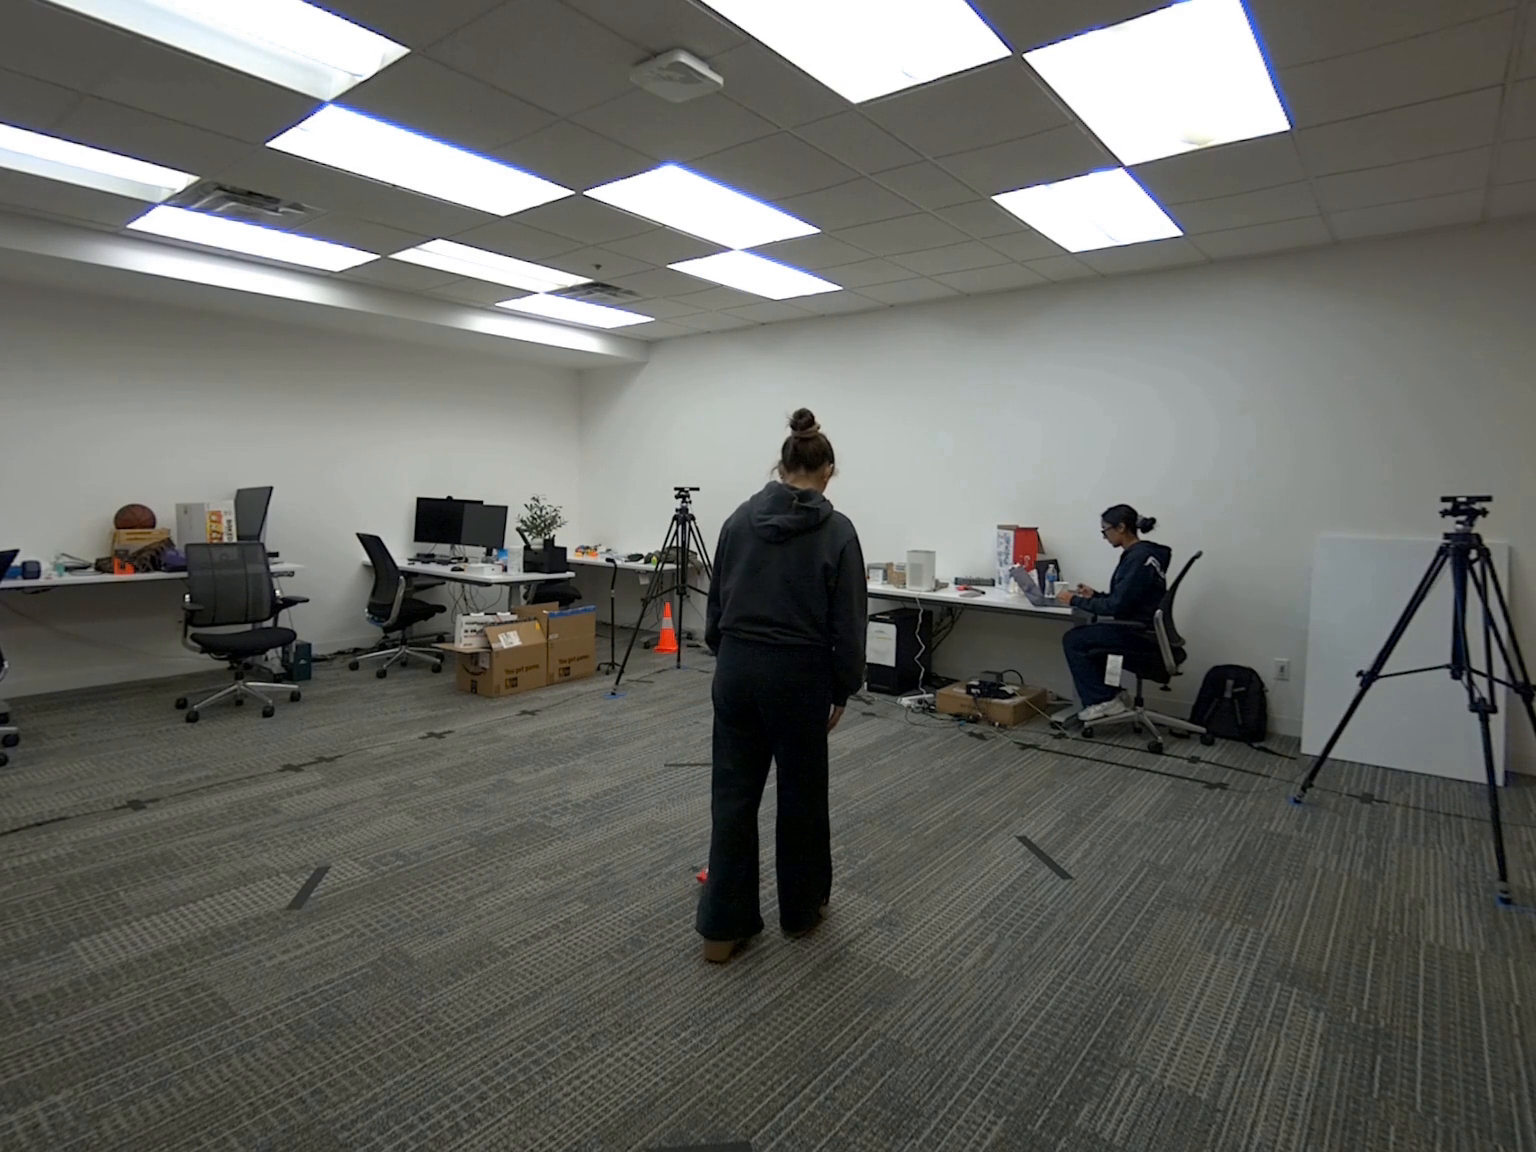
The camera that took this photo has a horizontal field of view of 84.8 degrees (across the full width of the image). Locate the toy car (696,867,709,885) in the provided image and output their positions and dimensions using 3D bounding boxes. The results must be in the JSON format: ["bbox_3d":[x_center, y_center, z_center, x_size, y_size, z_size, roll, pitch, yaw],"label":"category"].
[{"bbox_3d":[-0.138,1.041,2.994,0.135,0.083,0.245,6,-4,41],"label":"toy car"}]
